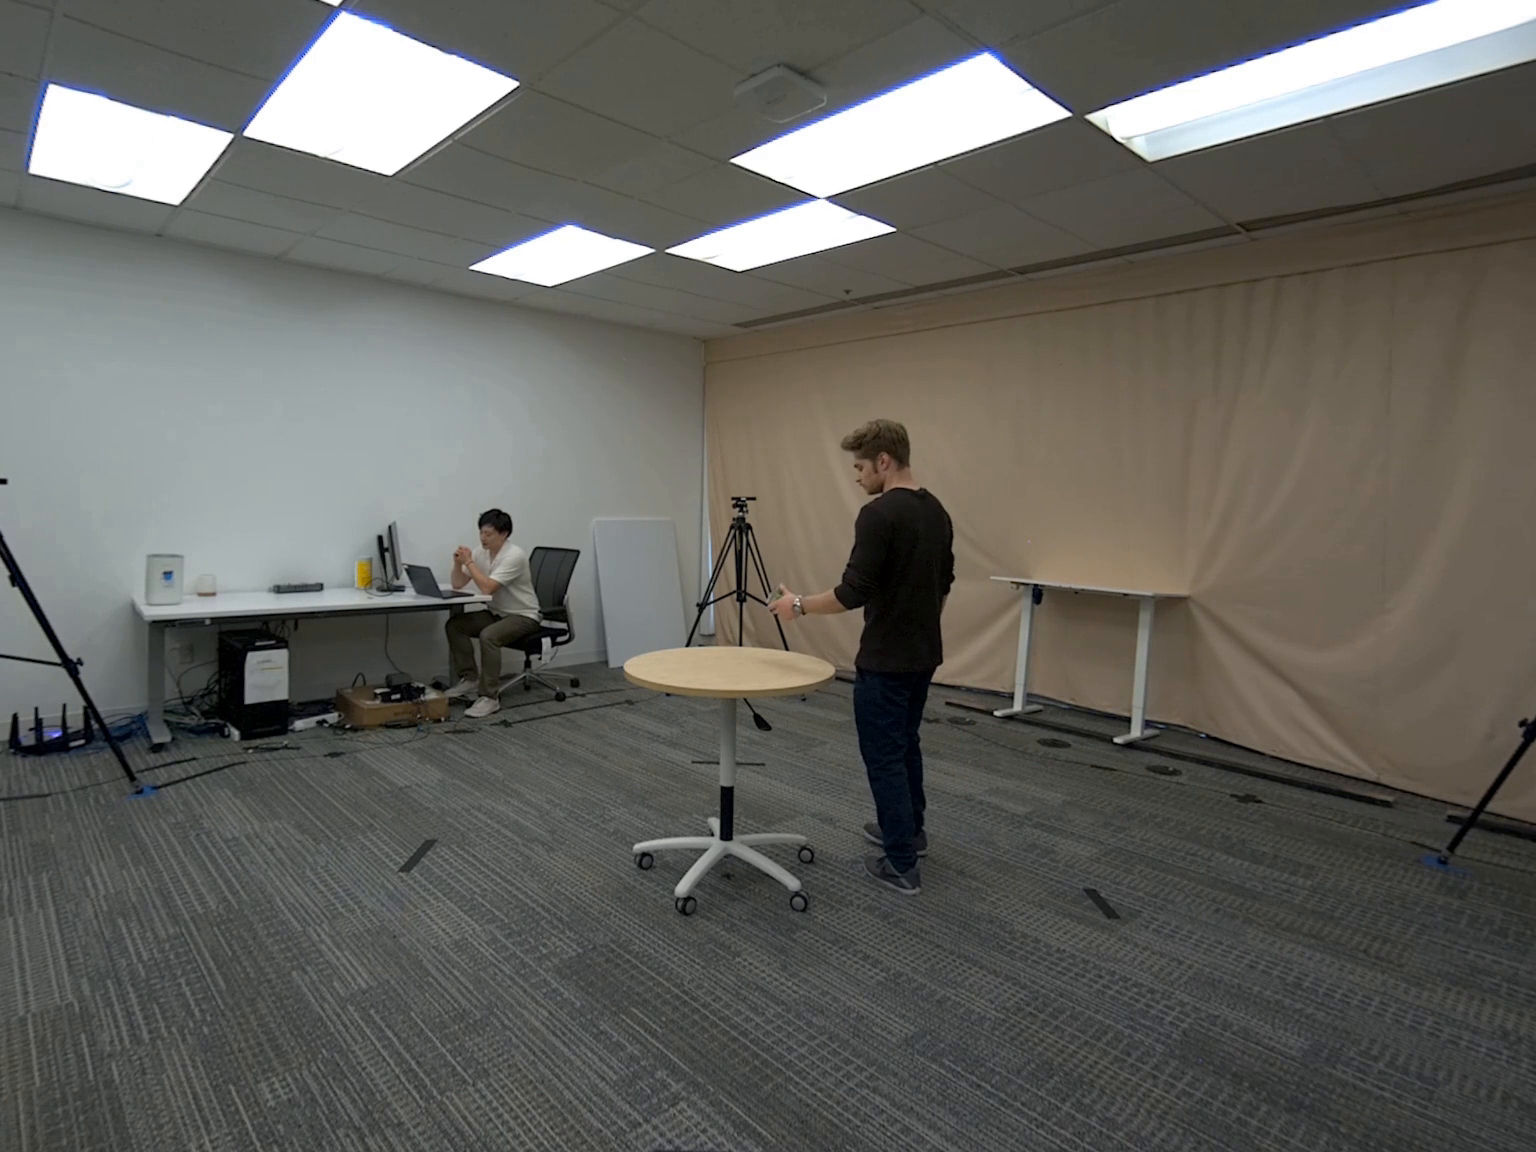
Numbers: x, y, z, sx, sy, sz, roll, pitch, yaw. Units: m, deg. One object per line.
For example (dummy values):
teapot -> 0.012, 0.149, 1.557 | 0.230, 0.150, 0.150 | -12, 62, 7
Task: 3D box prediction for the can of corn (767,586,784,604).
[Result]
can of corn -> 0.066, 0.094, 3.160 | 0.111, 0.074, 0.074 | 18, 4, -1
